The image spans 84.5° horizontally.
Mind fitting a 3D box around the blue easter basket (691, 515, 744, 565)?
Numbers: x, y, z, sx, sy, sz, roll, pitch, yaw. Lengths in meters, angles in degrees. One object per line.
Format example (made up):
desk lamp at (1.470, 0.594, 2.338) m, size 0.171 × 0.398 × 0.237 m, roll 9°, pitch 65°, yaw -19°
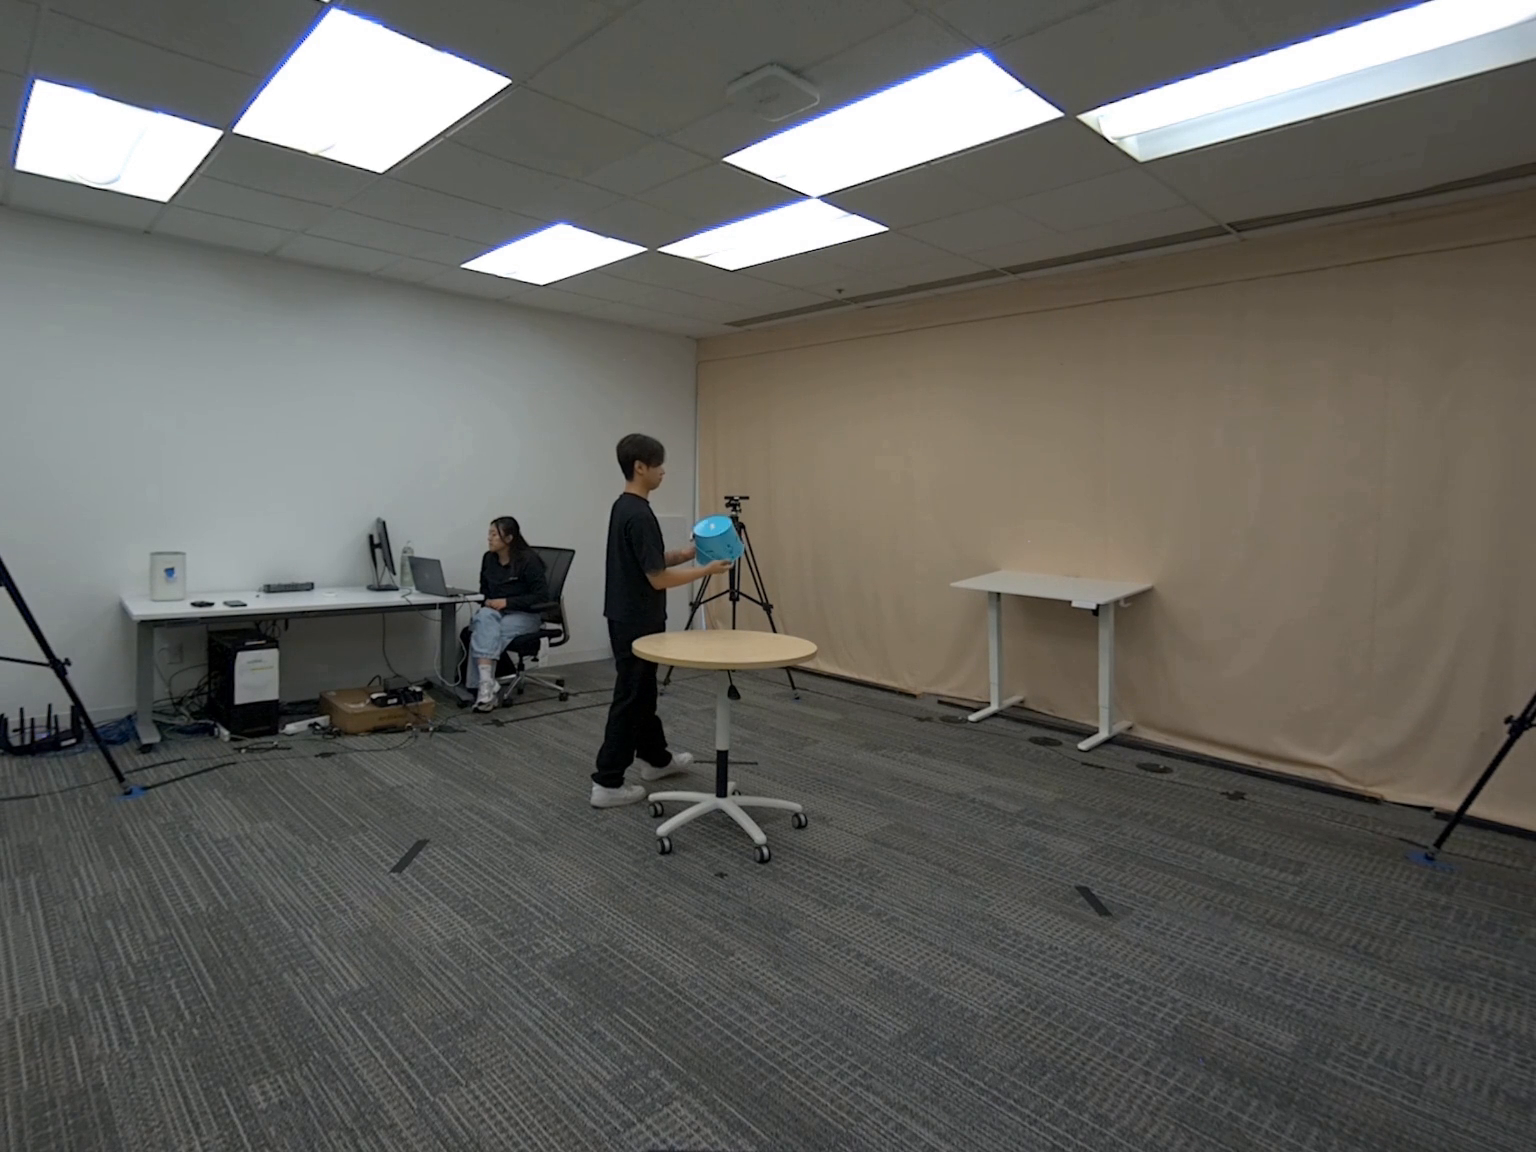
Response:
blue easter basket at (-0.261, -0.168, 3.898) m, size 0.244 × 0.152 × 0.249 m, roll -11°, pitch 34°, yaw 6°
